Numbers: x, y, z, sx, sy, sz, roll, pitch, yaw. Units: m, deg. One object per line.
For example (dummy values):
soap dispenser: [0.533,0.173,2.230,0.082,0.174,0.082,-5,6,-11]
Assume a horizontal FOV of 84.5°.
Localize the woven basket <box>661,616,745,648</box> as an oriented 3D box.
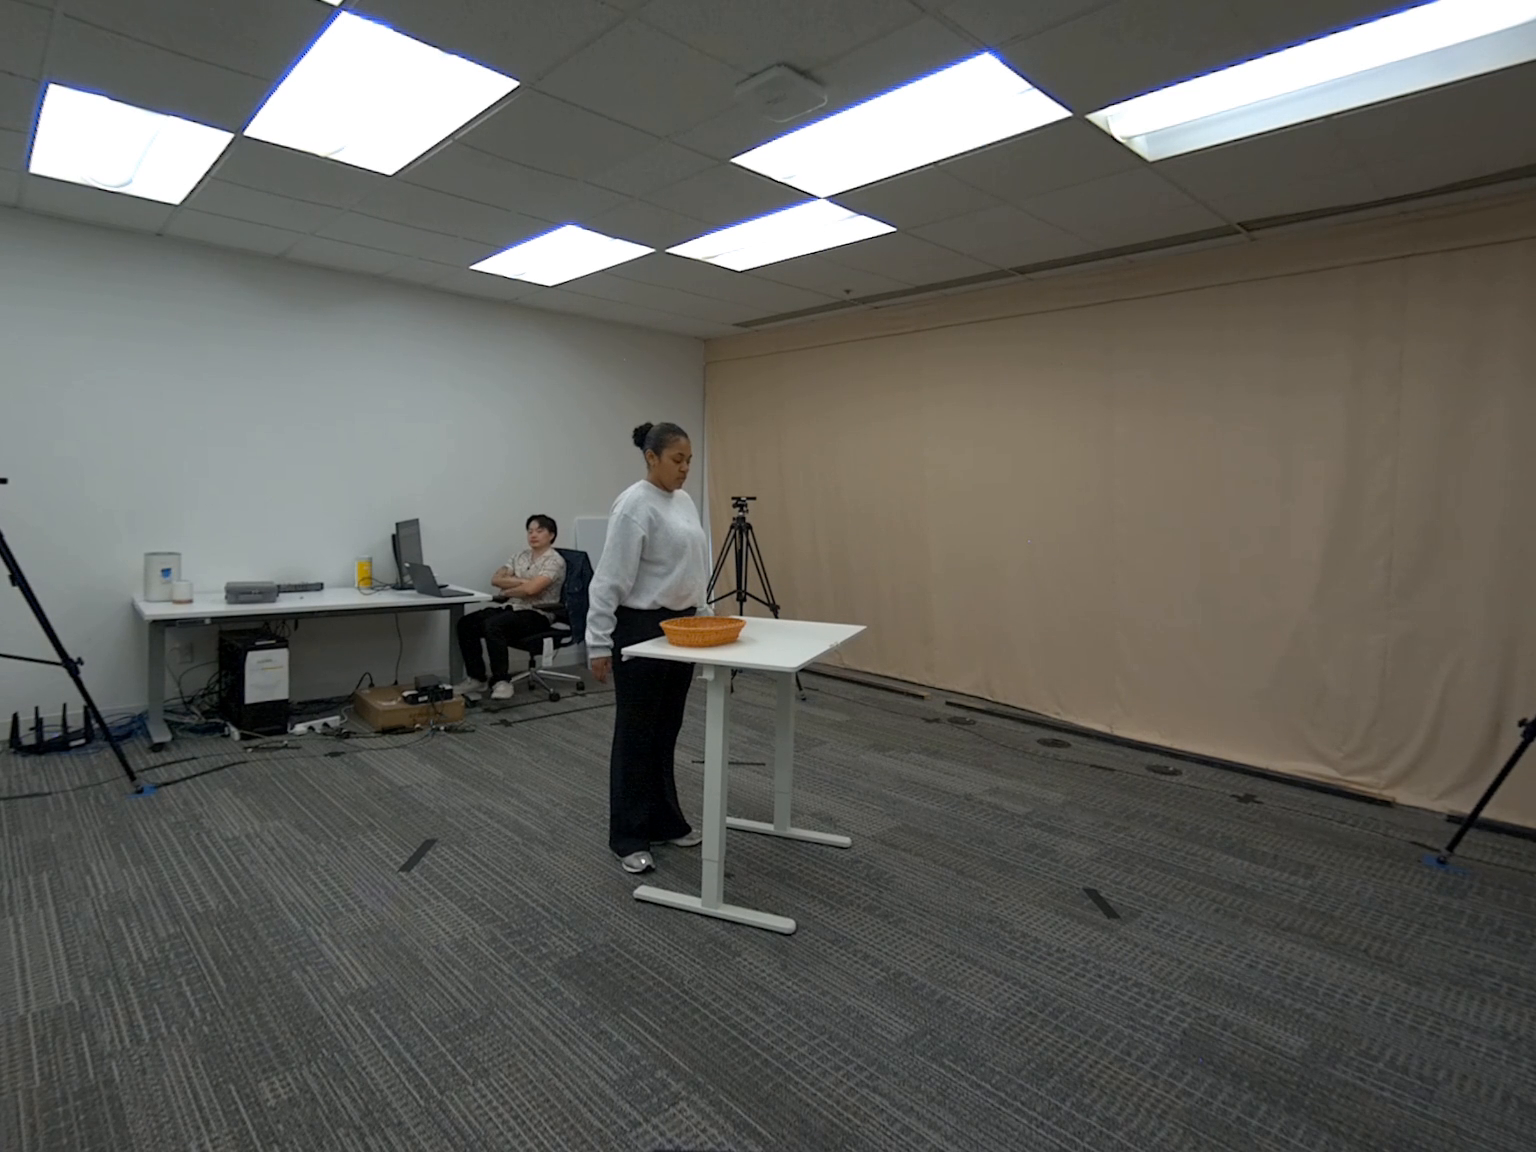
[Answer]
woven basket: [-0.245,0.203,2.963,0.258,0.073,0.343,5,6,34]
